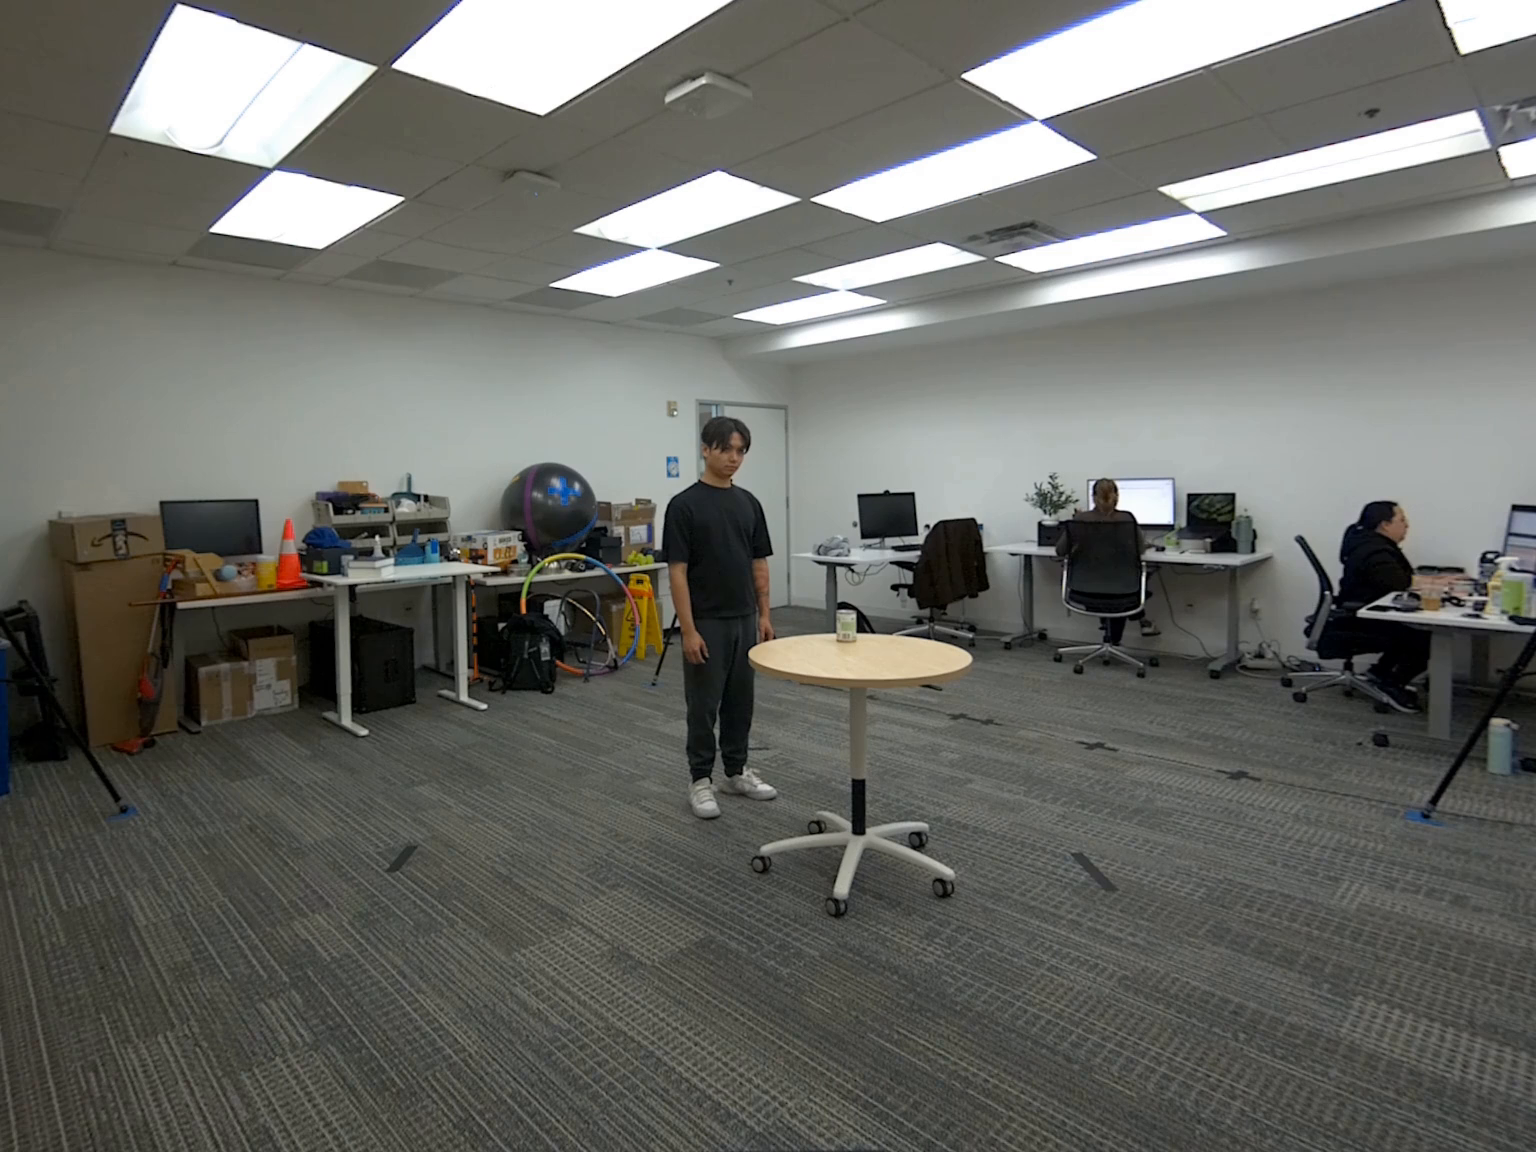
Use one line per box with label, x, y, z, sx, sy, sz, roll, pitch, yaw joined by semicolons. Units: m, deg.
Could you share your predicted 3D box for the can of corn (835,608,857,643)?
can of corn;0.296;0.188;3.205;0.074;0.111;0.074;-1;2;-2
